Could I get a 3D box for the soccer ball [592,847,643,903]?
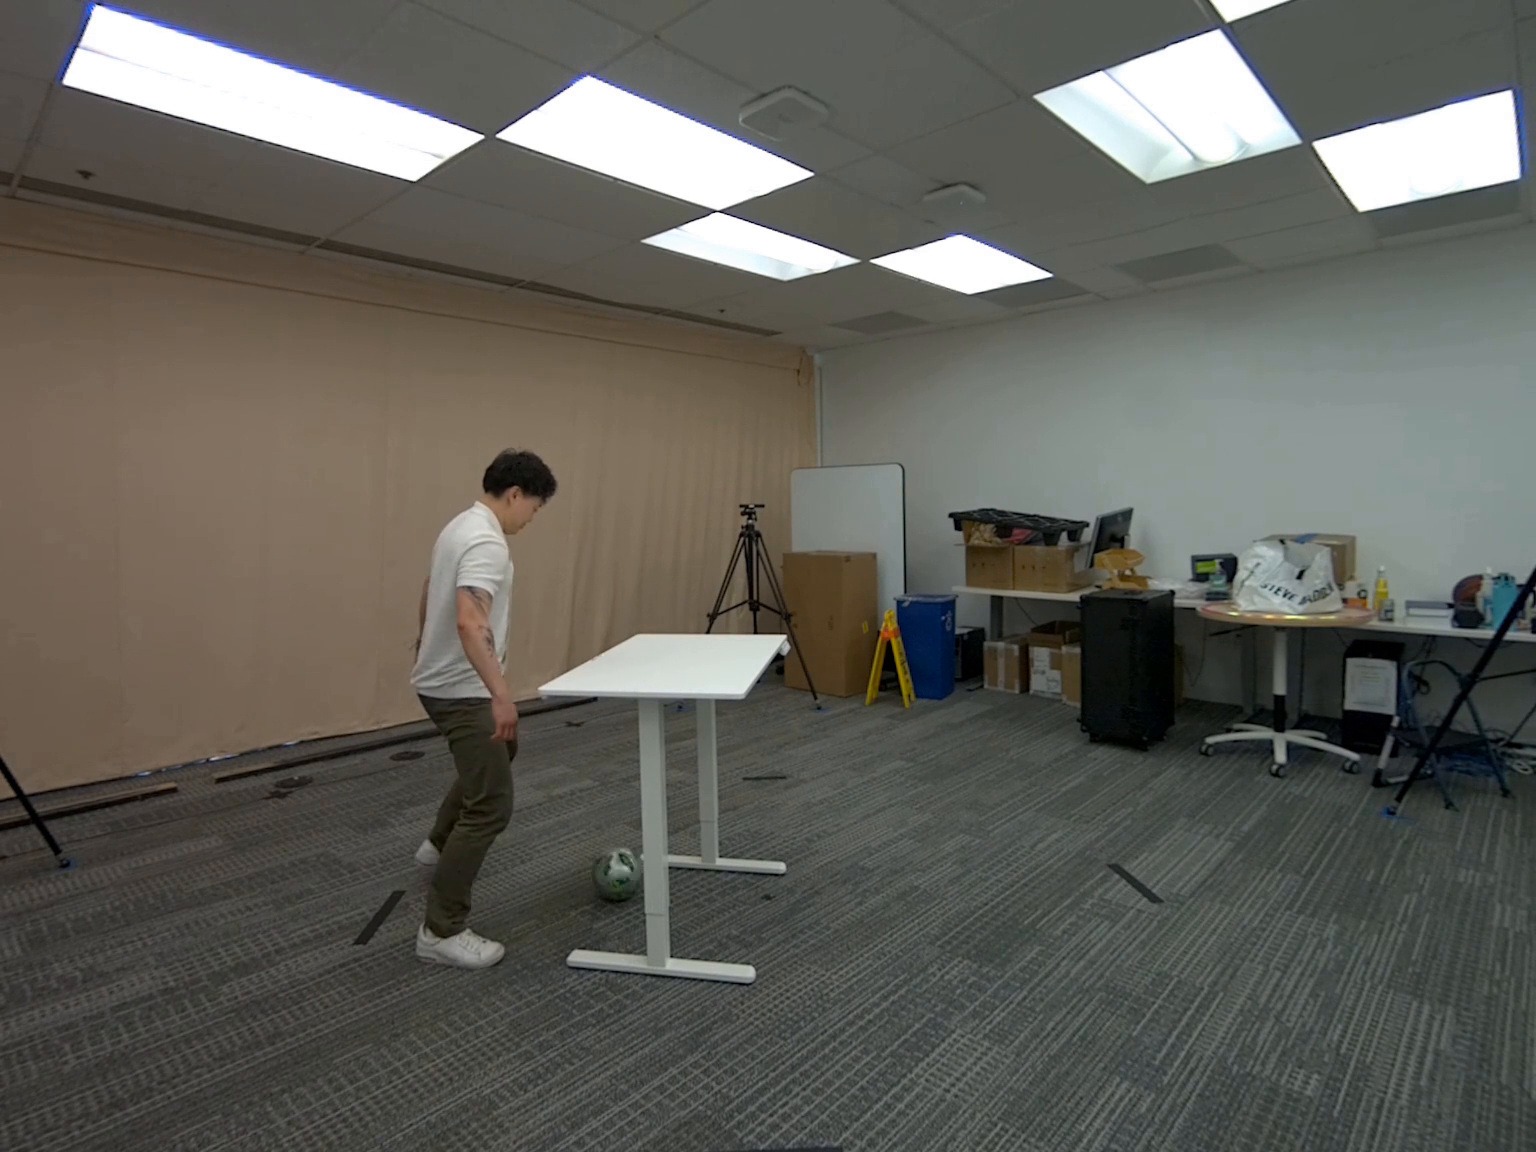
[{"bbox_3d":[-0.548,1.059,3.018,0.187,0.187,0.188,-1,4,-2],"label":"soccer ball"}]
